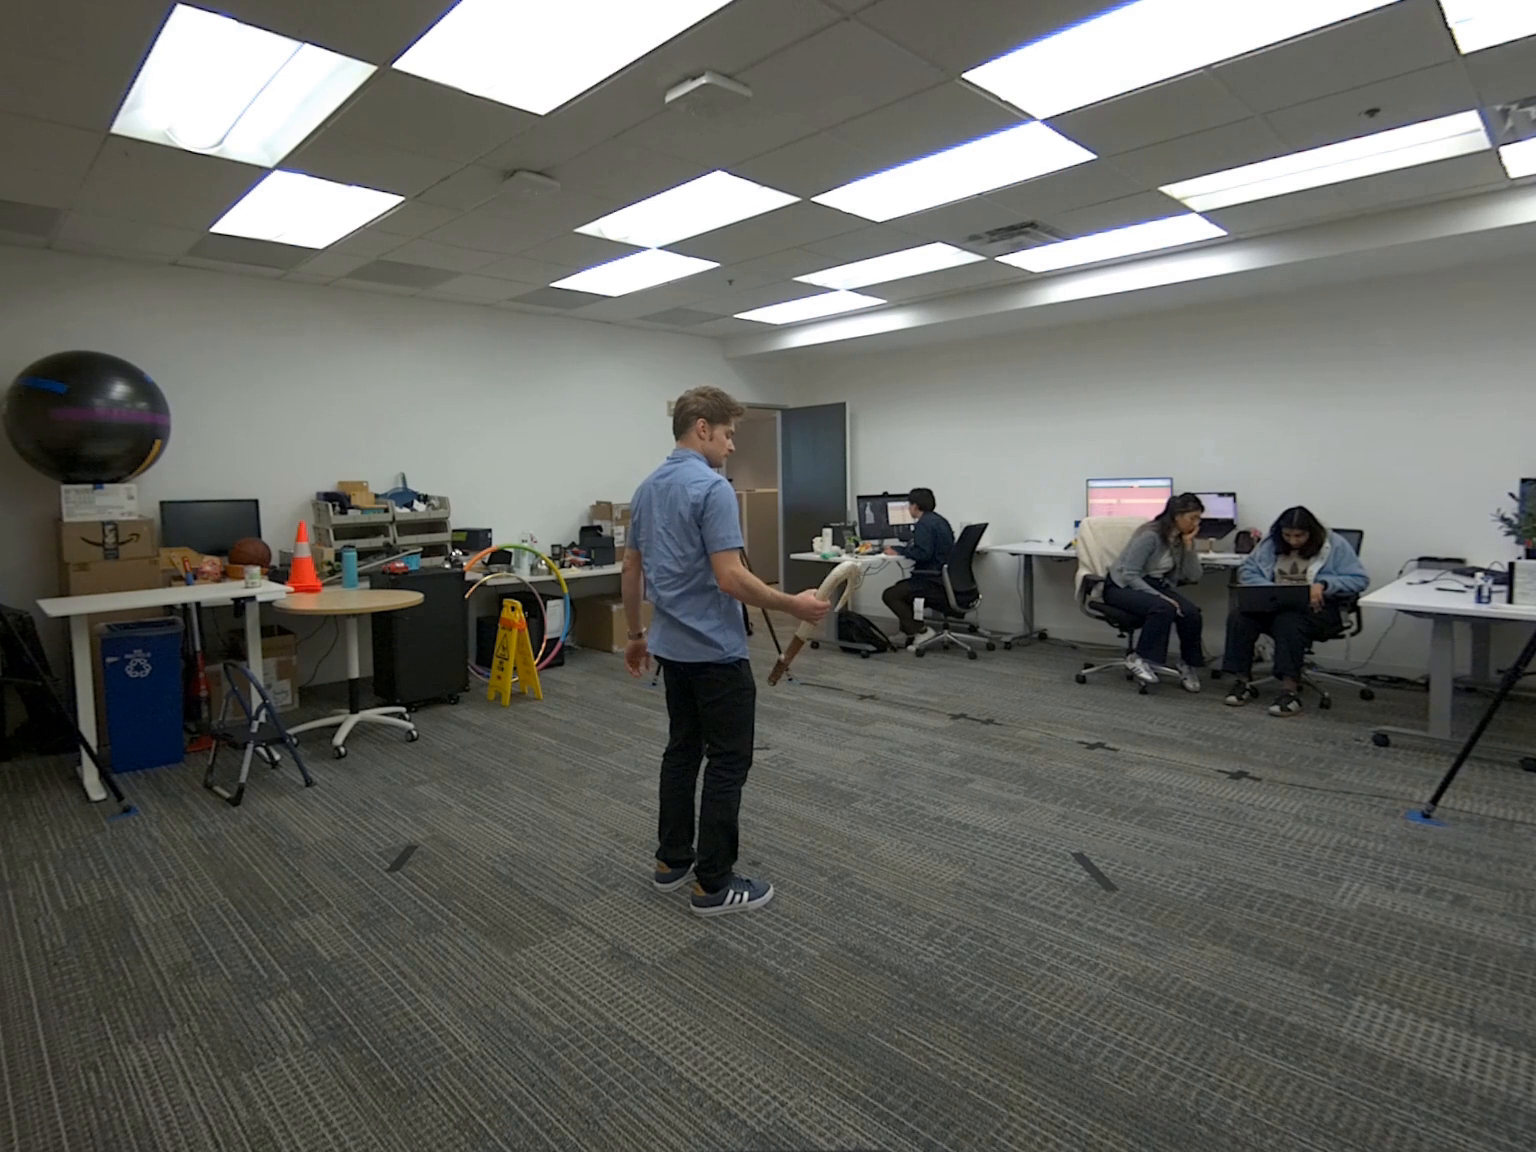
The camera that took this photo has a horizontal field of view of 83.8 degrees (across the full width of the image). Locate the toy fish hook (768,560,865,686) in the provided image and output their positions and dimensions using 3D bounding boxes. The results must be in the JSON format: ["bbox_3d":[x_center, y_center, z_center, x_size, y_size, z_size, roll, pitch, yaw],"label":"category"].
[{"bbox_3d":[0.163,0.158,2.904,0.050,0.505,0.217,39,13,32],"label":"toy fish hook"}]
